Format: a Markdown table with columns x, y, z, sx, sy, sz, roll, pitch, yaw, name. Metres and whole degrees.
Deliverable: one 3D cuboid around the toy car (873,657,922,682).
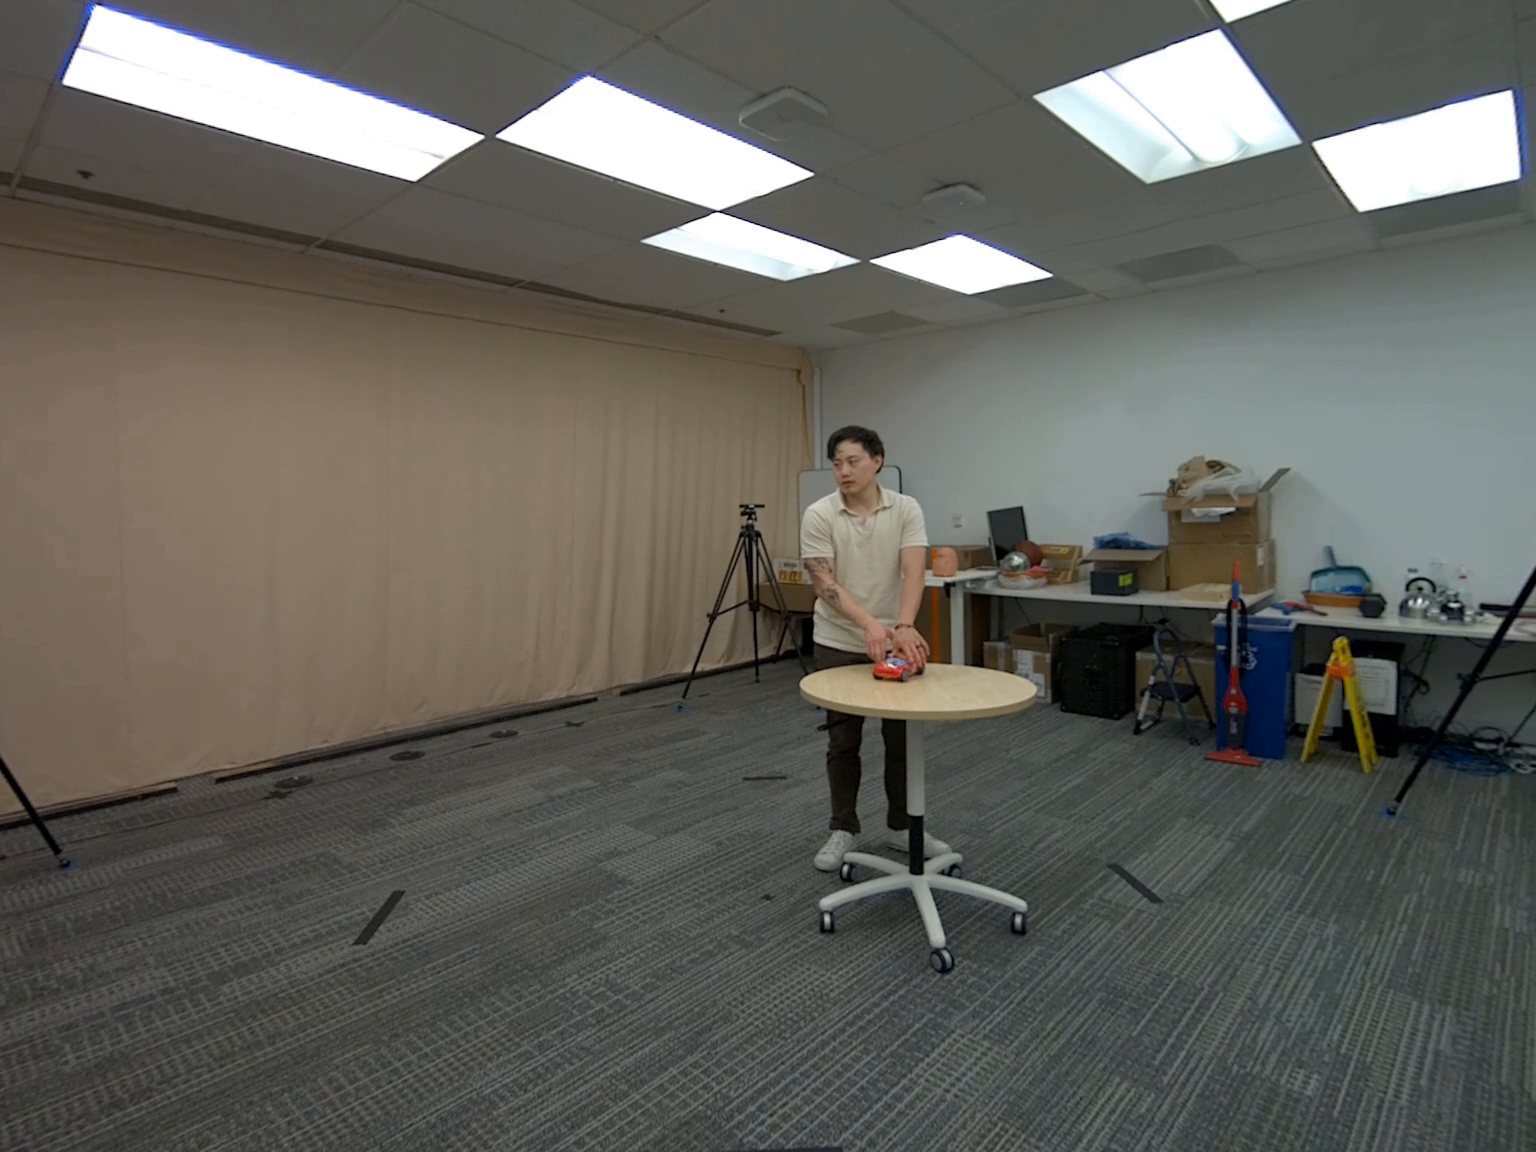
| x | y | z | sx | sy | sz | roll | pitch | yaw | name |
| --- | --- | --- | --- | --- | --- | --- | --- | --- | --- |
| 0.476 | 0.320 | 2.955 | 0.134 | 0.082 | 0.249 | 0 | 15 | 34 | toy car |
